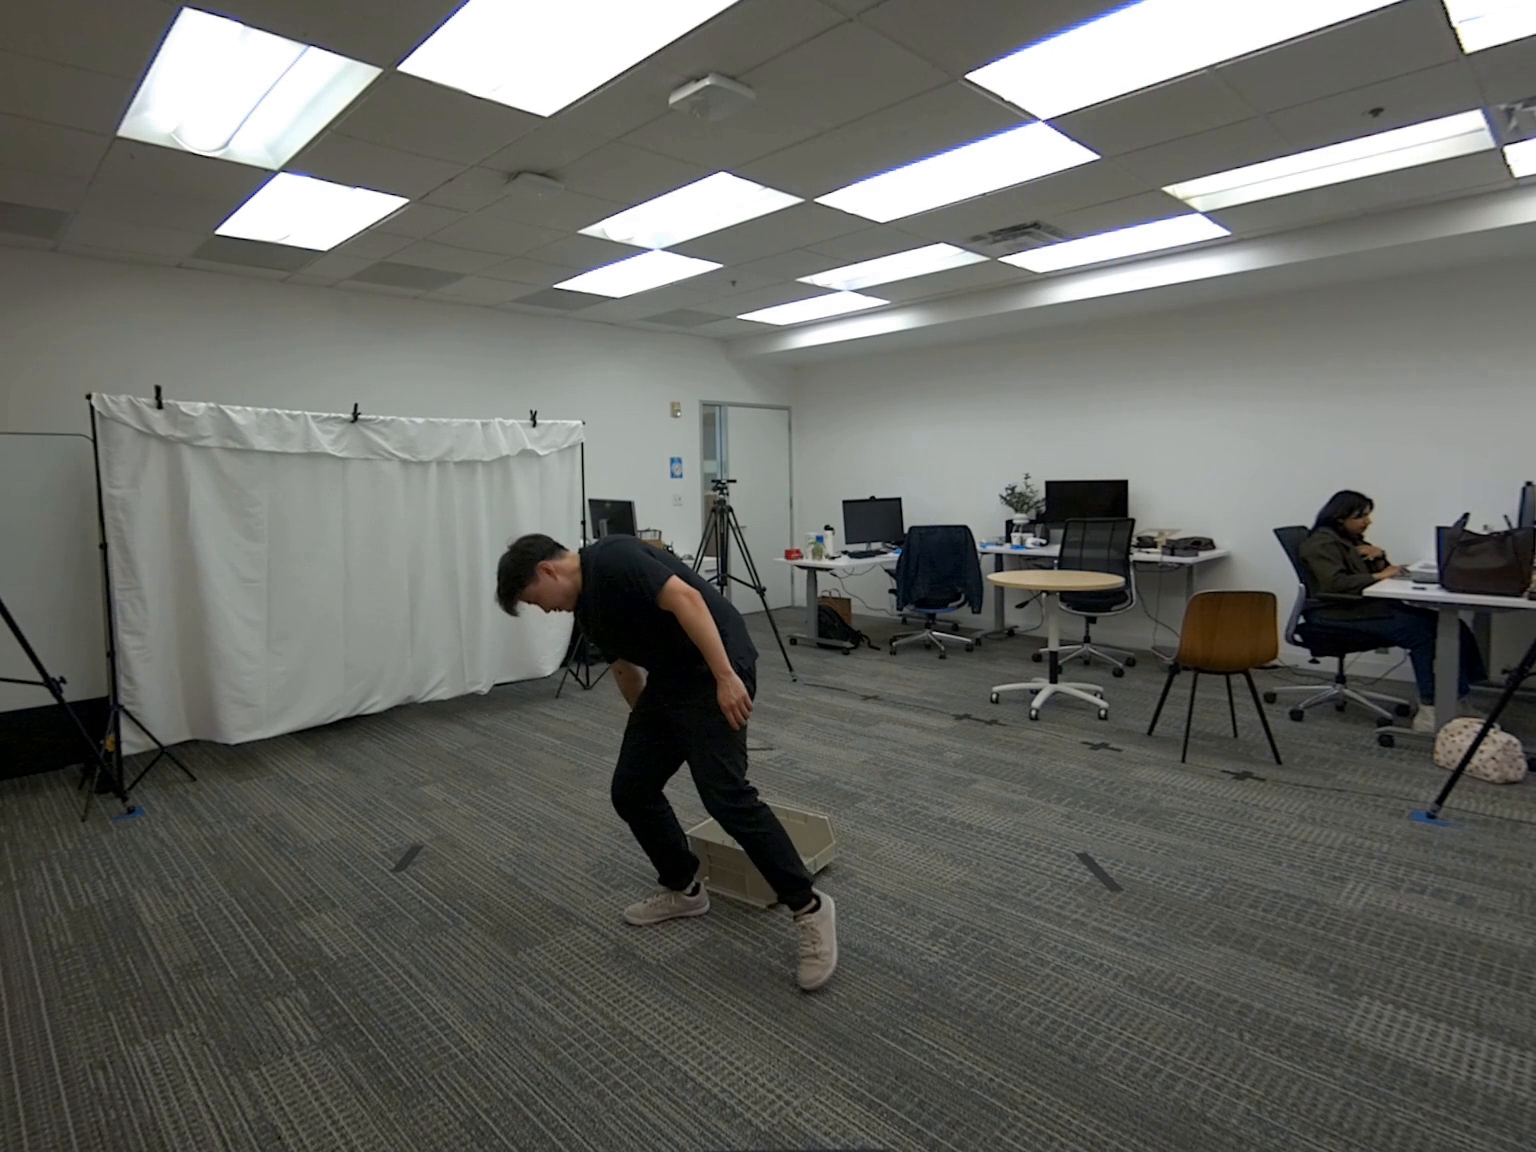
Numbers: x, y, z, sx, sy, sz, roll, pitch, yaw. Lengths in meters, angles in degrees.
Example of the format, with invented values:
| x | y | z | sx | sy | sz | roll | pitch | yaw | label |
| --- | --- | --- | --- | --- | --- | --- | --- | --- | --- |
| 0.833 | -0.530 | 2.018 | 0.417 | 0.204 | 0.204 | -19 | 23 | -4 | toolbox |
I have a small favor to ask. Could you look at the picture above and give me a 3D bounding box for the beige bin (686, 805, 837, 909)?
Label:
| x | y | z | sx | sy | sz | roll | pitch | yaw | label |
| --- | --- | --- | --- | --- | --- | --- | --- | --- | --- |
| -0.016 | 0.970 | 3.024 | 0.388 | 0.188 | 0.412 | 2 | 7 | 34 | beige bin |
